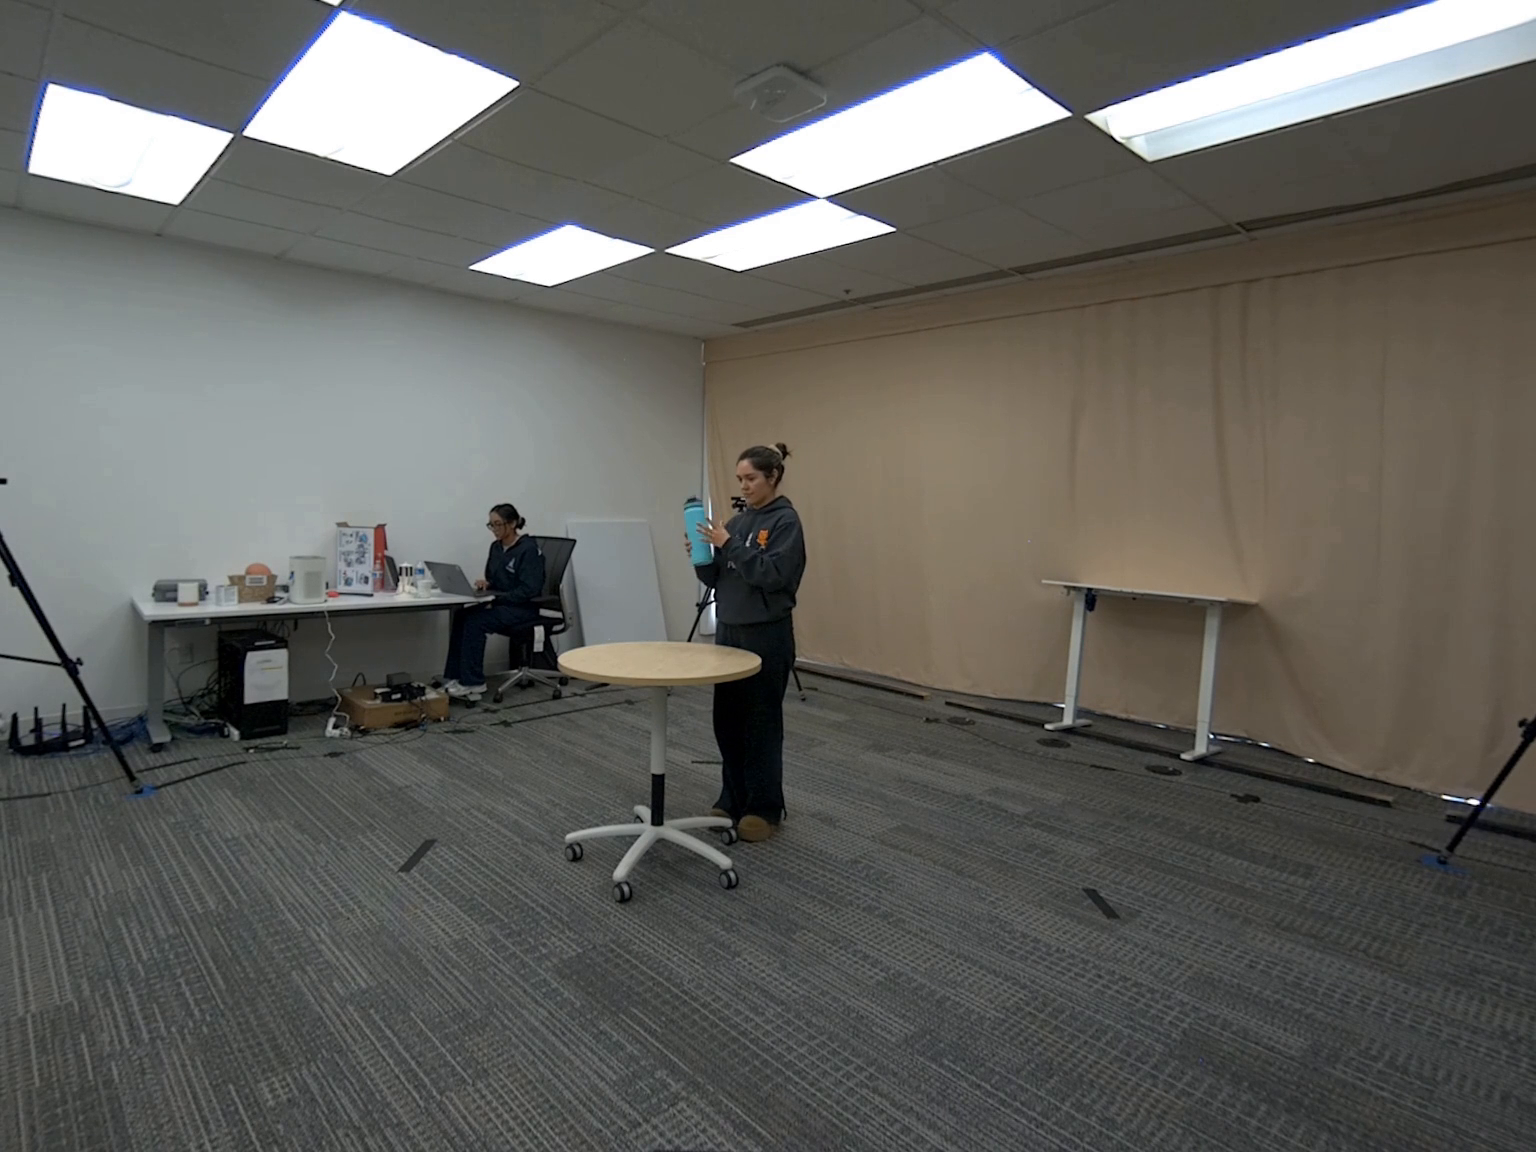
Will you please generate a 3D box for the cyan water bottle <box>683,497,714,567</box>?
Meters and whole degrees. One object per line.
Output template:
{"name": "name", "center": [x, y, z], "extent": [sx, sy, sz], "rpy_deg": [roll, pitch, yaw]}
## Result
{"name": "cyan water bottle", "center": [-0.299, -0.180, 3.442], "extent": [0.092, 0.285, 0.092], "rpy_deg": [-9, -8, -2]}
